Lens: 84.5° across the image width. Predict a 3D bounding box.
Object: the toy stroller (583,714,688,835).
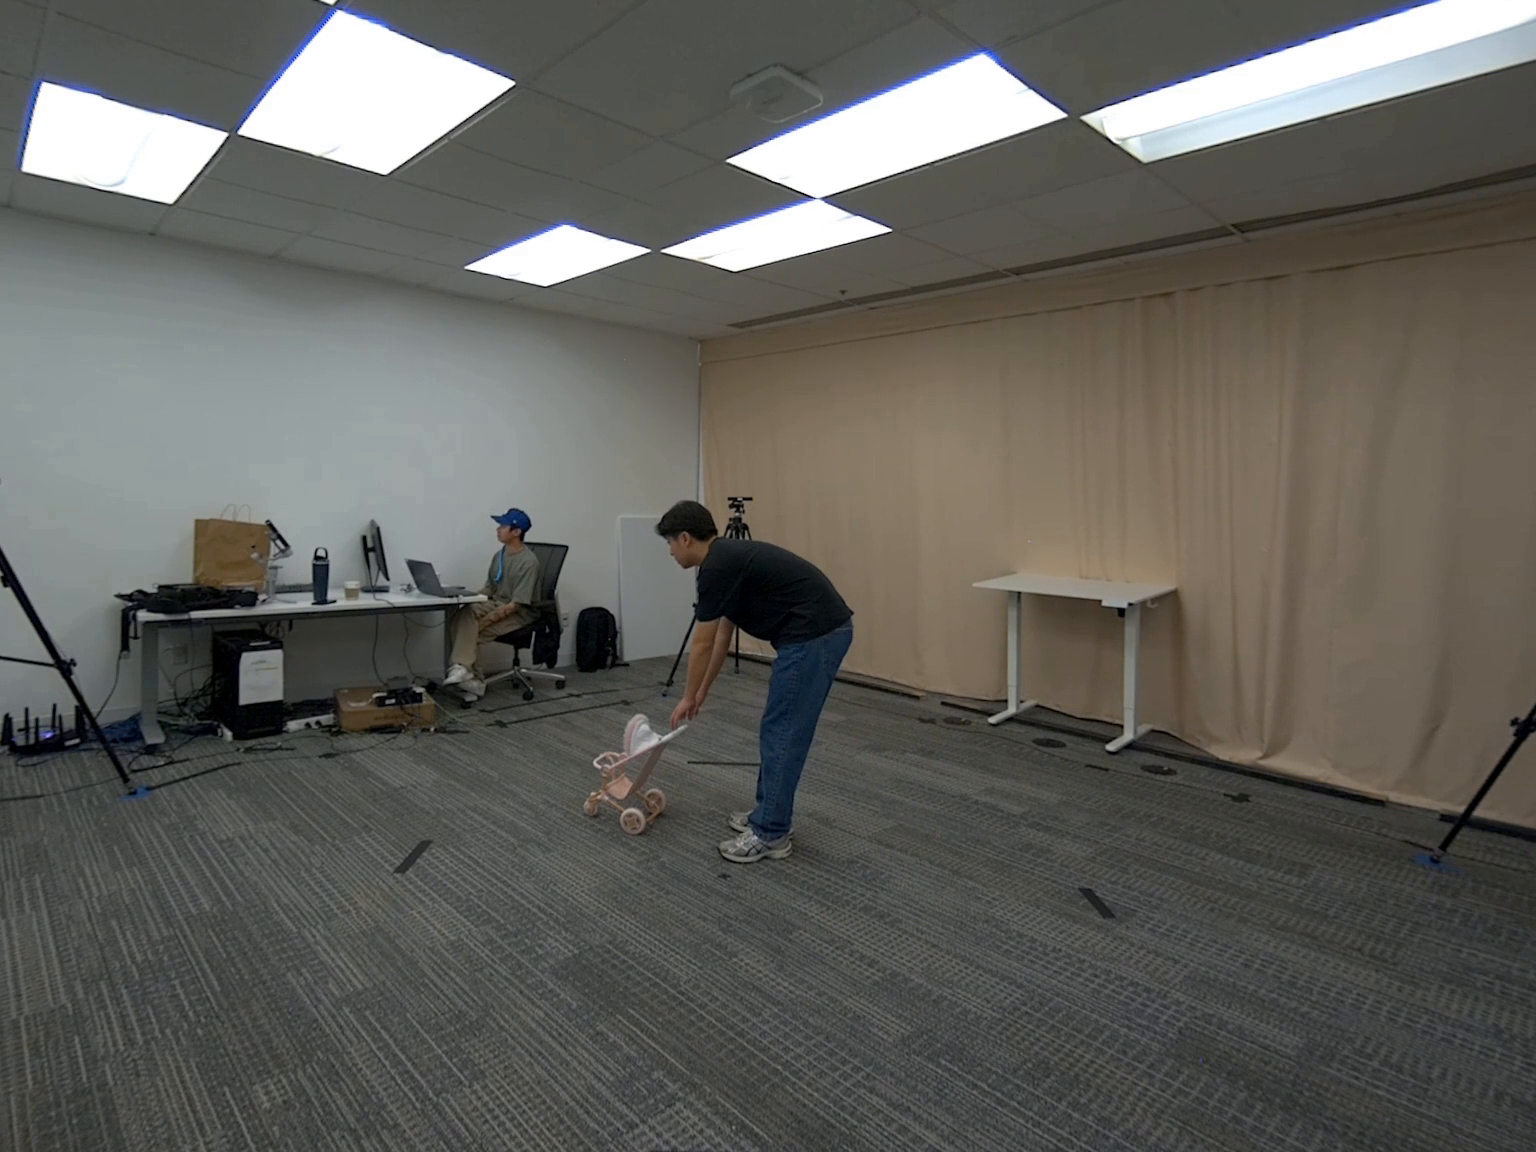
[{"bbox_3d":[-0.597,0.838,3.597,0.348,0.533,0.277,19,8,19],"label":"toy stroller"}]
